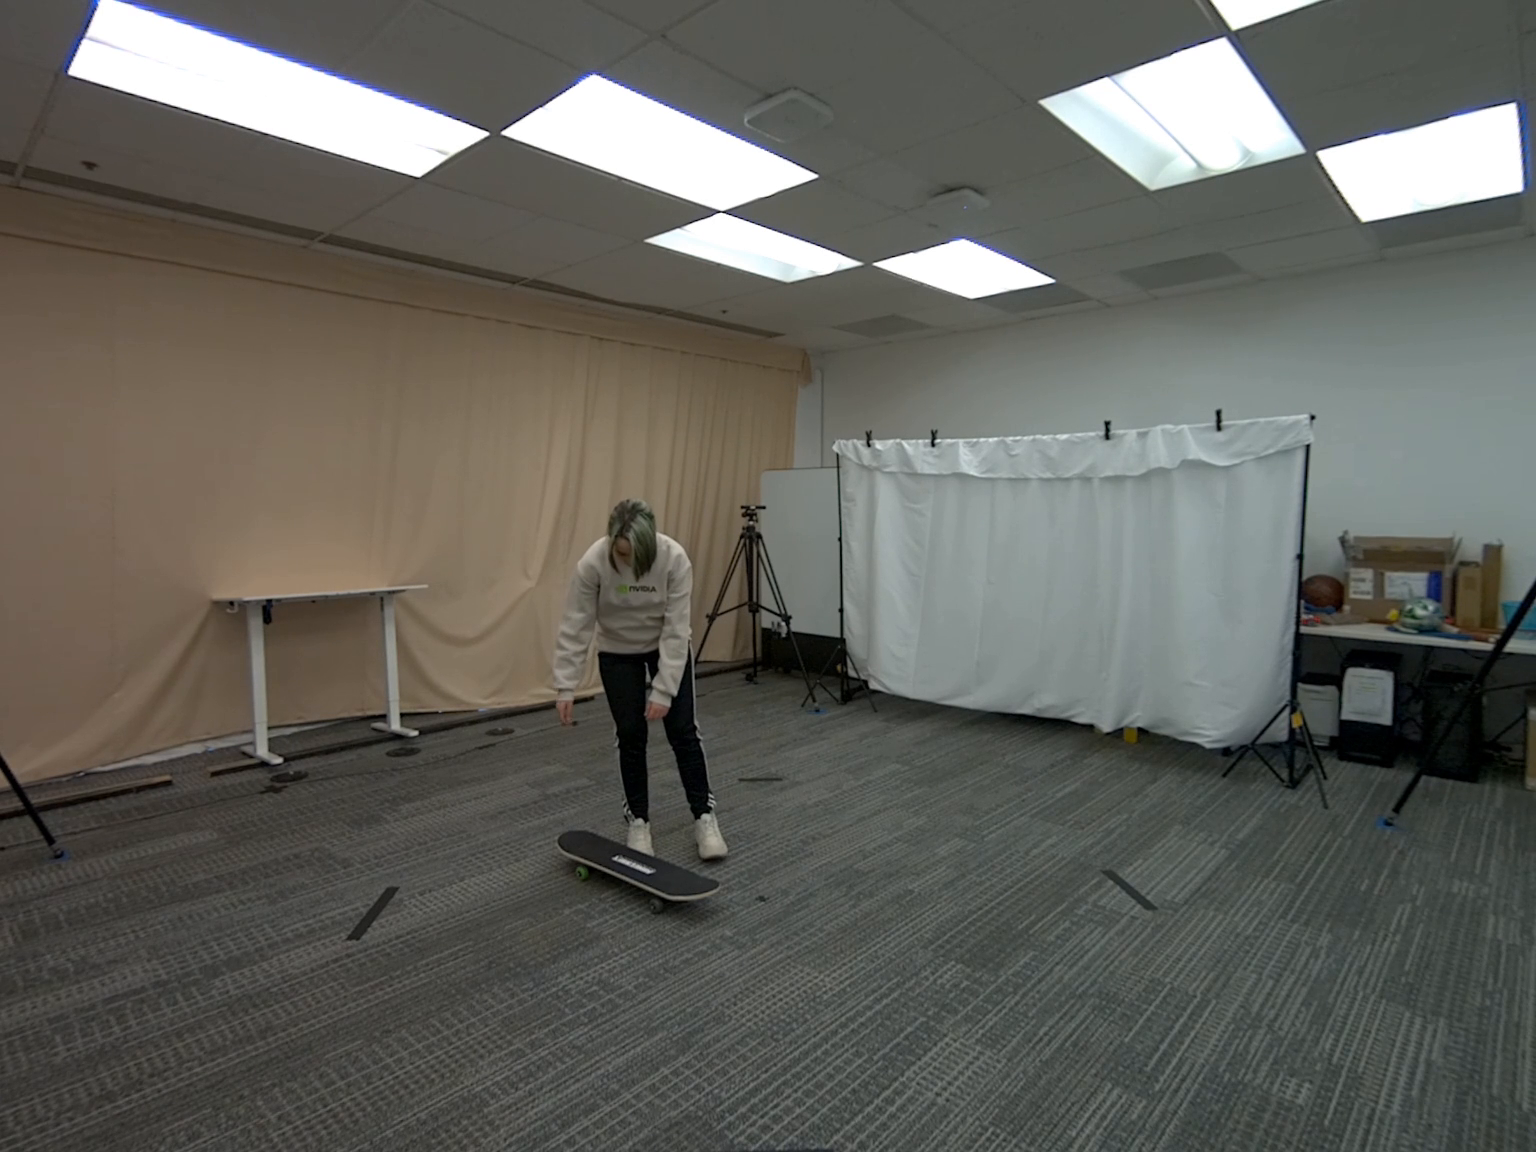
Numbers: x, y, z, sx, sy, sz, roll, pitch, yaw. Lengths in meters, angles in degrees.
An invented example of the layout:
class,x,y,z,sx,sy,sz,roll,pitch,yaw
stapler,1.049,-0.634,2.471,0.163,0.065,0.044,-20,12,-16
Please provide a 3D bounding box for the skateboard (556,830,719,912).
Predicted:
class,x,y,z,sx,sy,sz,roll,pitch,yaw
skateboard,-0.489,1.082,3.072,0.811,0.110,0.187,4,5,40
